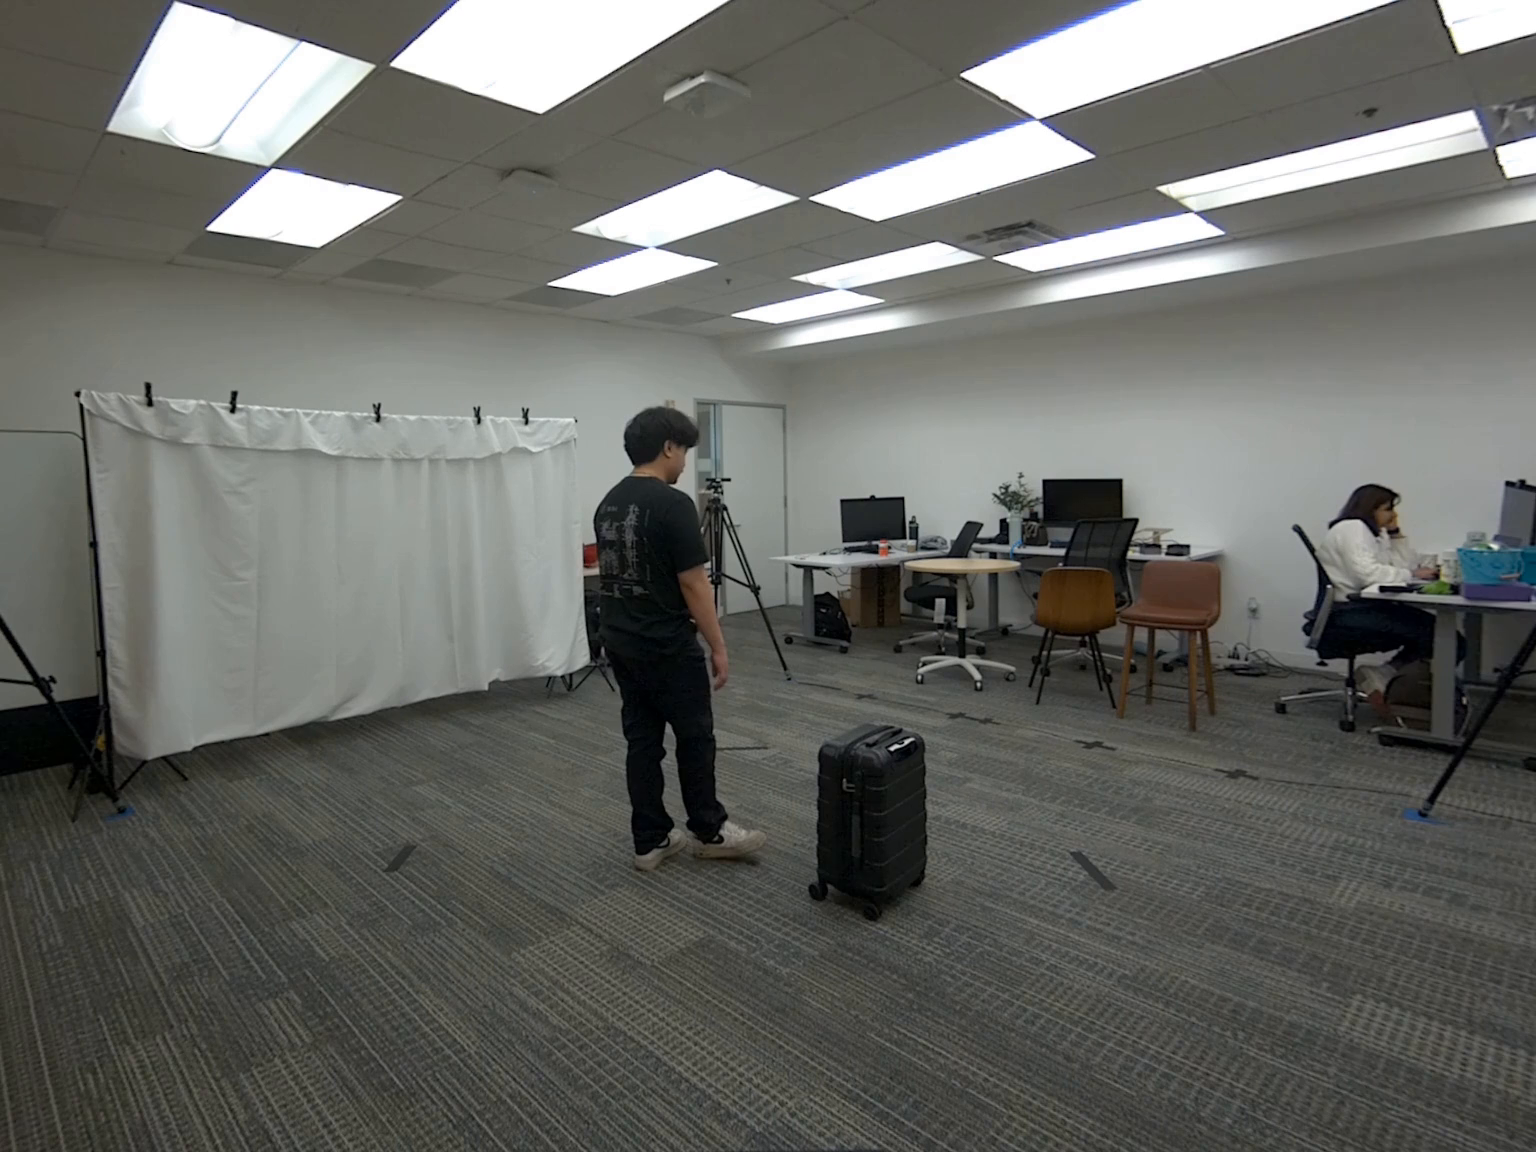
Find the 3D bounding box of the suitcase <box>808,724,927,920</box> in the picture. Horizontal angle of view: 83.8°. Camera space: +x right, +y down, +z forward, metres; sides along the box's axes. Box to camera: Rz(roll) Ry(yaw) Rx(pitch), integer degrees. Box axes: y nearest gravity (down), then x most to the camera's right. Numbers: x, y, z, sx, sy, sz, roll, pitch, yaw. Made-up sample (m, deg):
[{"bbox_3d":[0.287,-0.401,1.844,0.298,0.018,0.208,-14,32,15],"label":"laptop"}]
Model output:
[{"bbox_3d":[0.352,0.791,2.841,0.256,0.547,0.366,4,7,38],"label":"suitcase"}]
